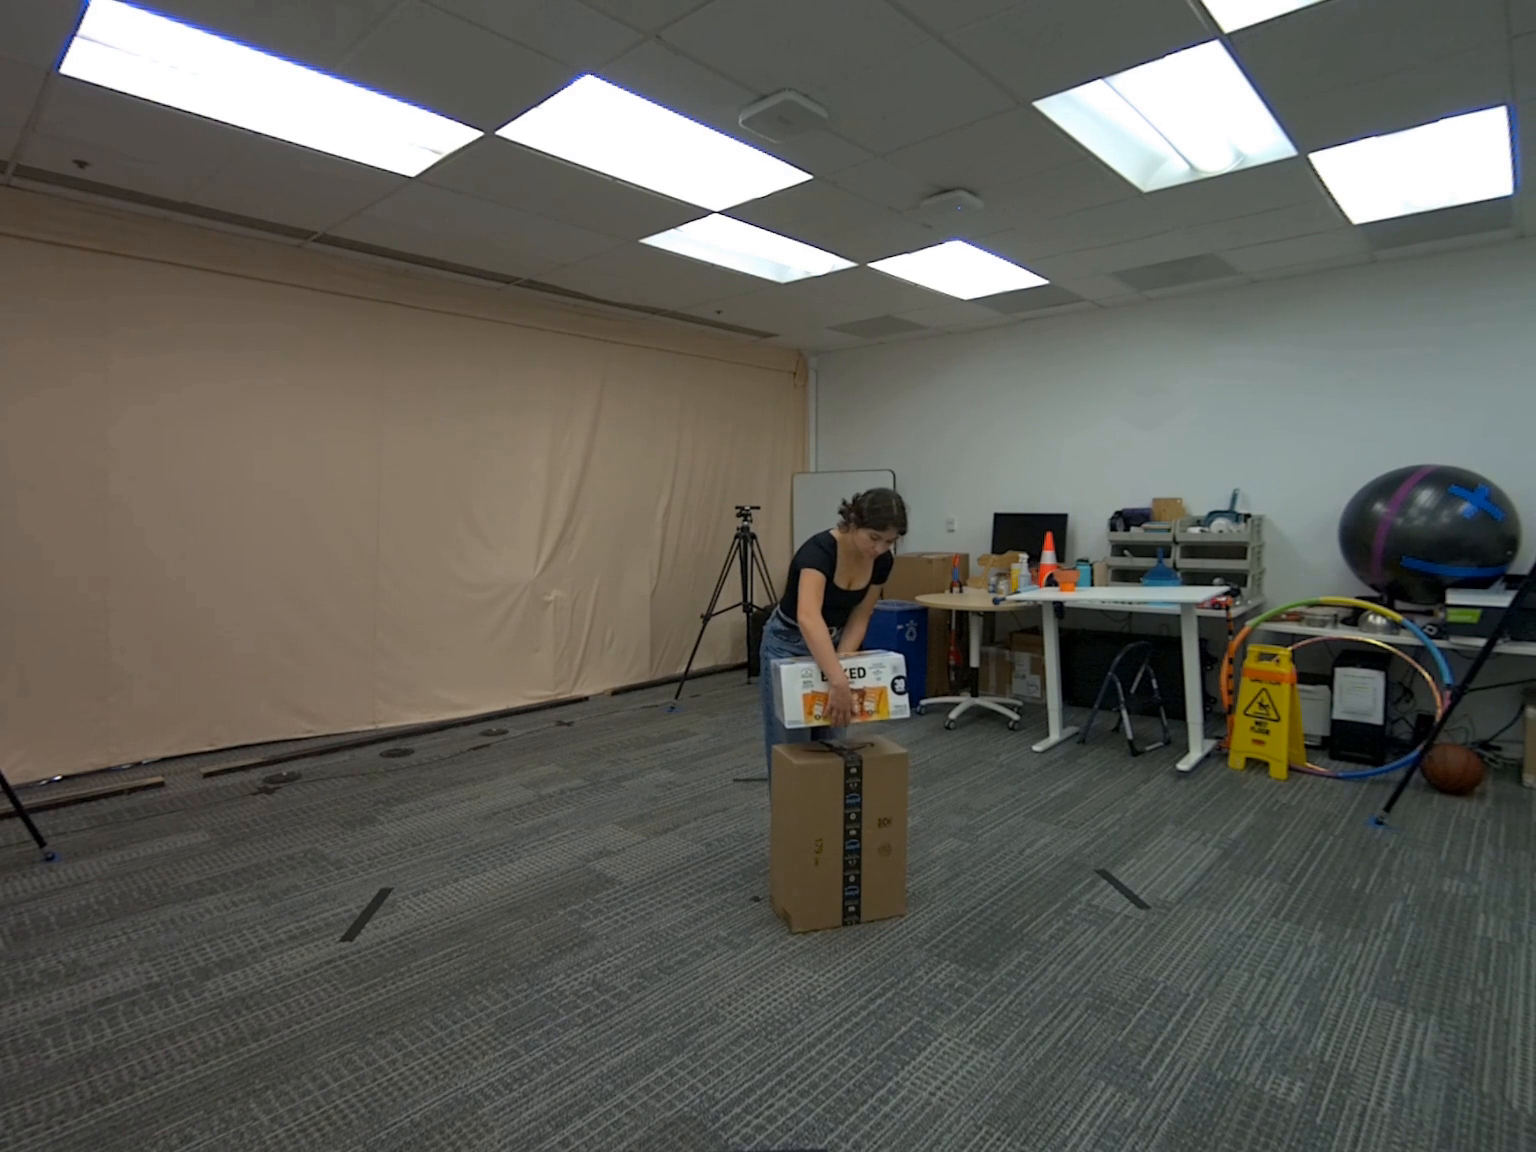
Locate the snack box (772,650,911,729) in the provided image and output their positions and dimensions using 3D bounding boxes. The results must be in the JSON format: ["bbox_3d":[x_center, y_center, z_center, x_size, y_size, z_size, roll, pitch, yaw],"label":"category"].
[{"bbox_3d":[0.231,0.375,2.874,0.404,0.206,0.340,-5,-3,-4],"label":"snack box"}]
